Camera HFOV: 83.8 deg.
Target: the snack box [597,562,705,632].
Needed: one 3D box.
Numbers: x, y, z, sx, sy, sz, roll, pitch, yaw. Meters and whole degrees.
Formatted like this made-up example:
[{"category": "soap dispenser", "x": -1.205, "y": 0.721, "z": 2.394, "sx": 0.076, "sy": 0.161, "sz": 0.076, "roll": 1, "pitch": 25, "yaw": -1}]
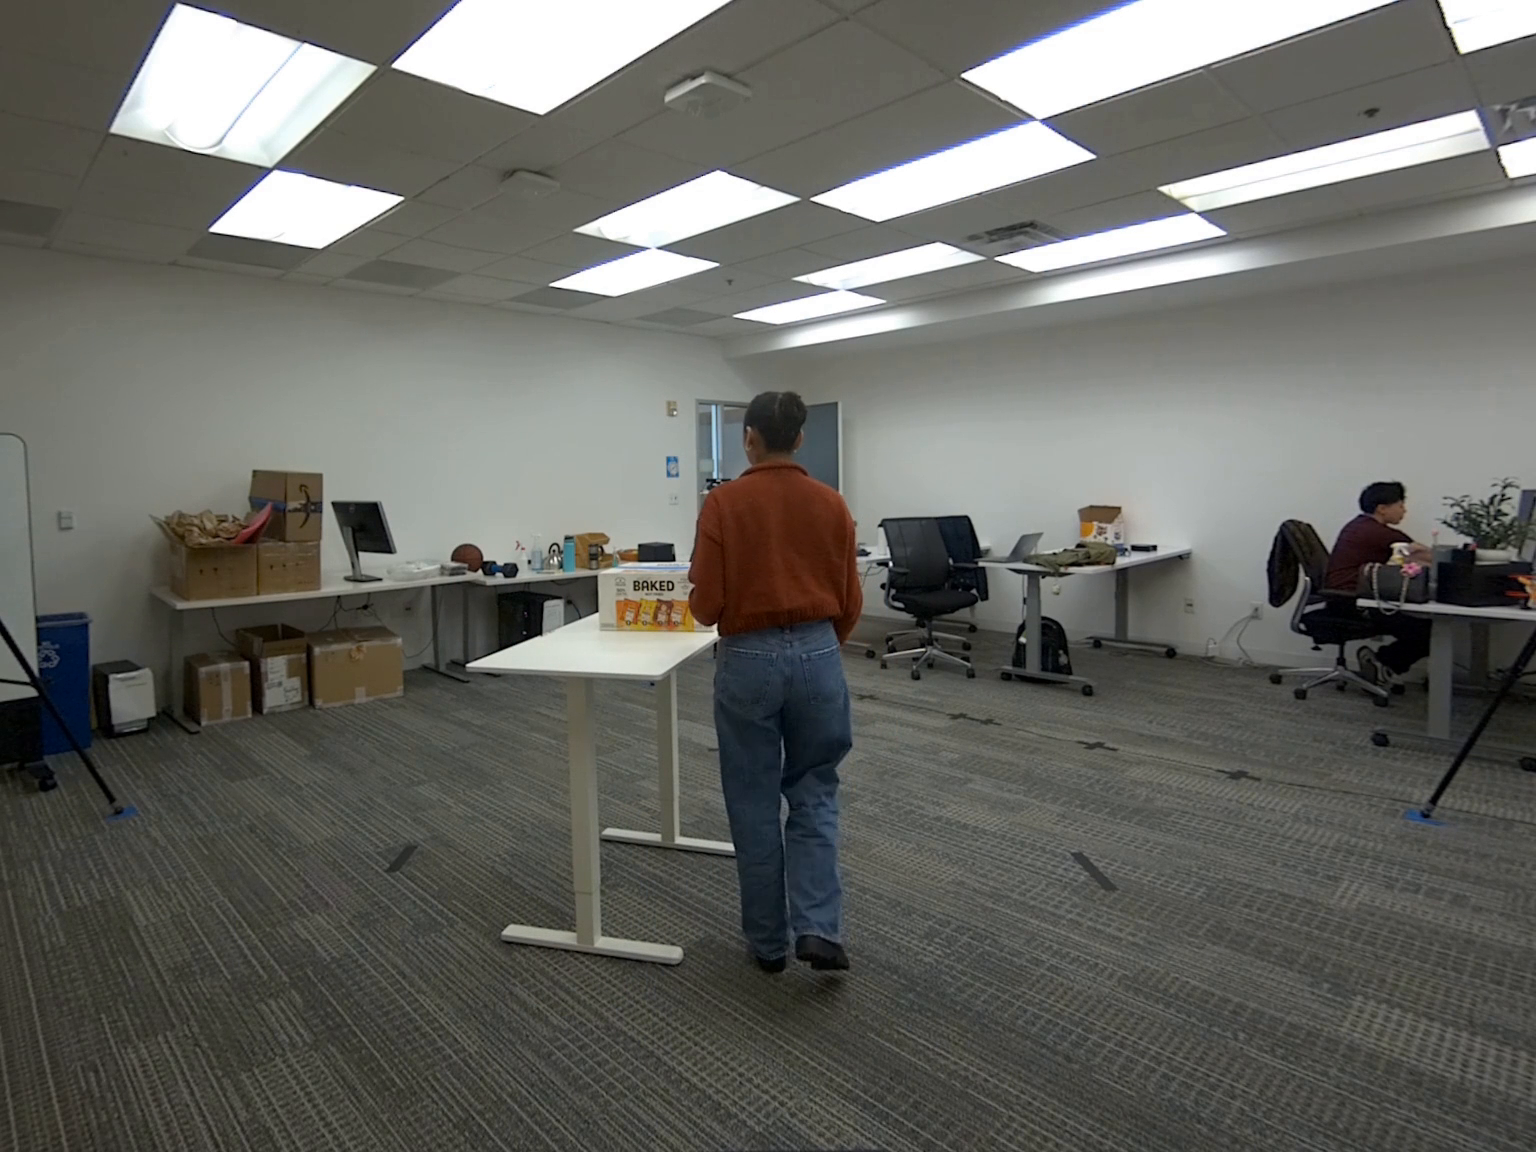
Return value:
[{"category": "snack box", "x": -0.360, "y": 0.070, "z": 3.077, "sx": 0.410, "sy": 0.205, "sz": 0.338, "roll": 0, "pitch": 6, "yaw": 11}]
